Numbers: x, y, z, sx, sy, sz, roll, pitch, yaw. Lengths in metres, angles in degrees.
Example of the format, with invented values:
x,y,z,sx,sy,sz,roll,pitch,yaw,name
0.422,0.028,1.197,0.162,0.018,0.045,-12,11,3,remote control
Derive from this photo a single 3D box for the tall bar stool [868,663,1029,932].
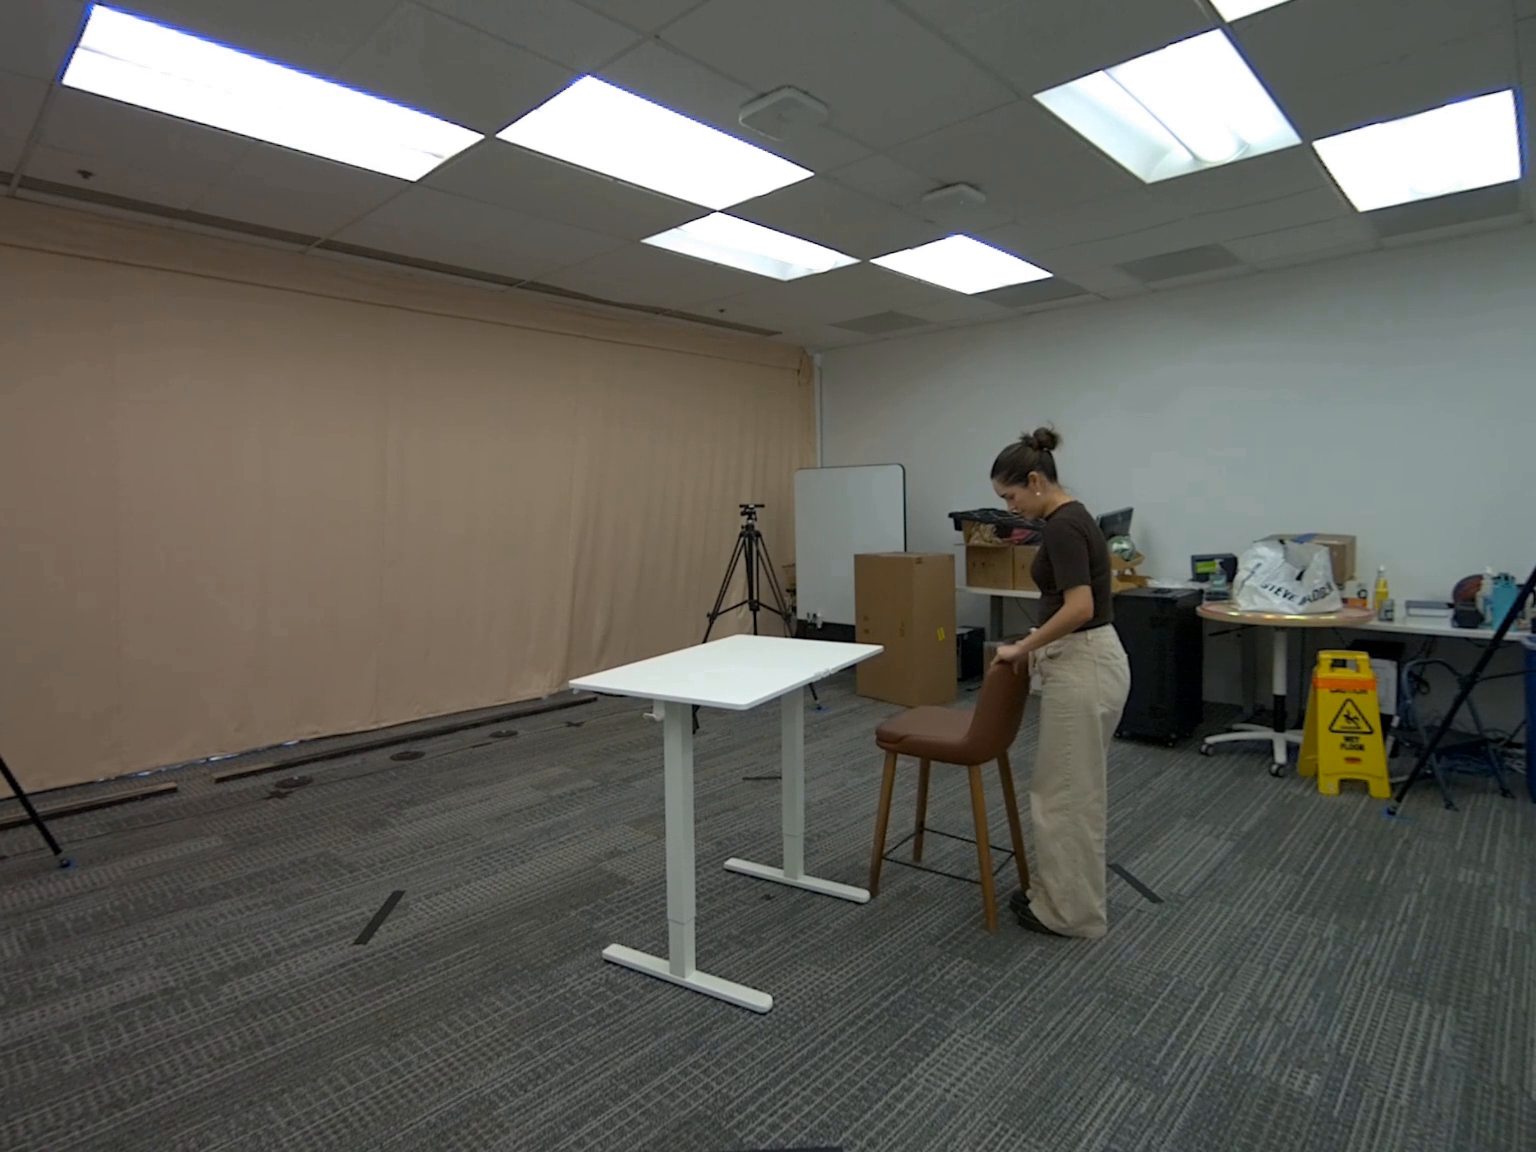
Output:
x,y,z,sx,sy,sz,roll,pitch,yaw,name
0.654,0.686,2.958,0.482,0.887,0.443,4,5,35,tall bar stool
